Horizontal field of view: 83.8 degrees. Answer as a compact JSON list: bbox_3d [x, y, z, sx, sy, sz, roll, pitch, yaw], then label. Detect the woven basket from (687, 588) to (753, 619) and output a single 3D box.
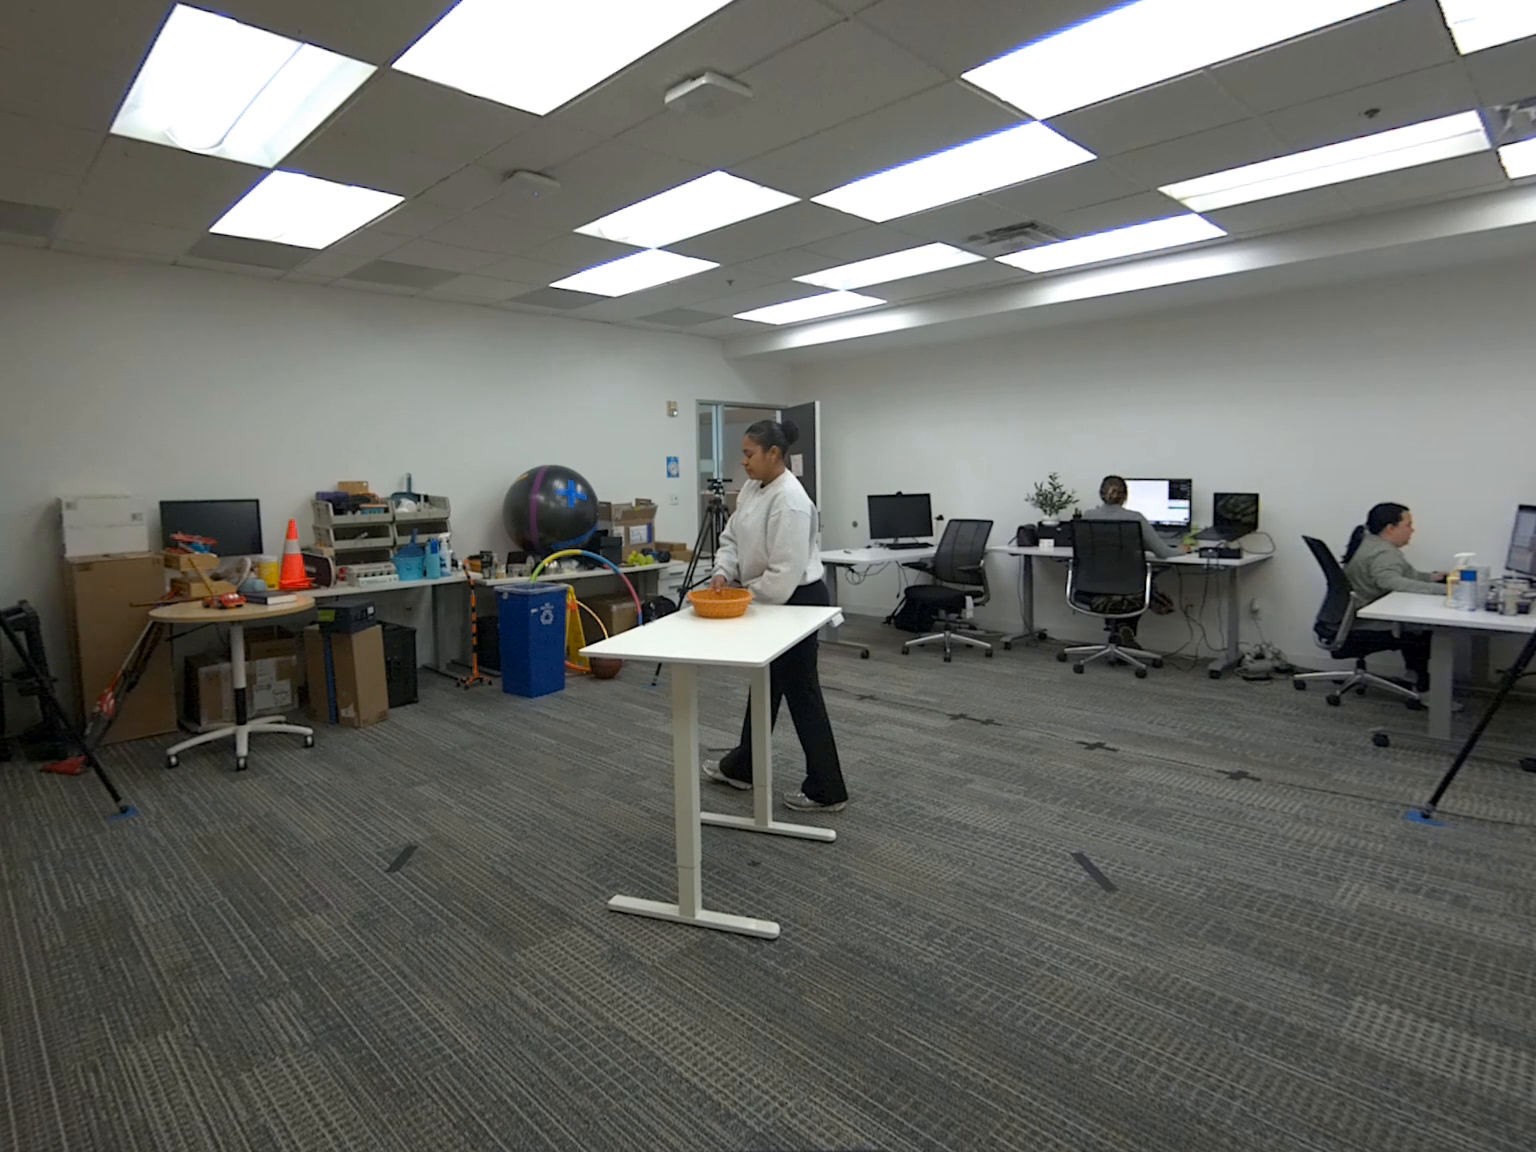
[{"bbox_3d":[-0.191,0.095,3.319,0.253,0.073,0.351,-3,7,1],"label":"woven basket"}]
